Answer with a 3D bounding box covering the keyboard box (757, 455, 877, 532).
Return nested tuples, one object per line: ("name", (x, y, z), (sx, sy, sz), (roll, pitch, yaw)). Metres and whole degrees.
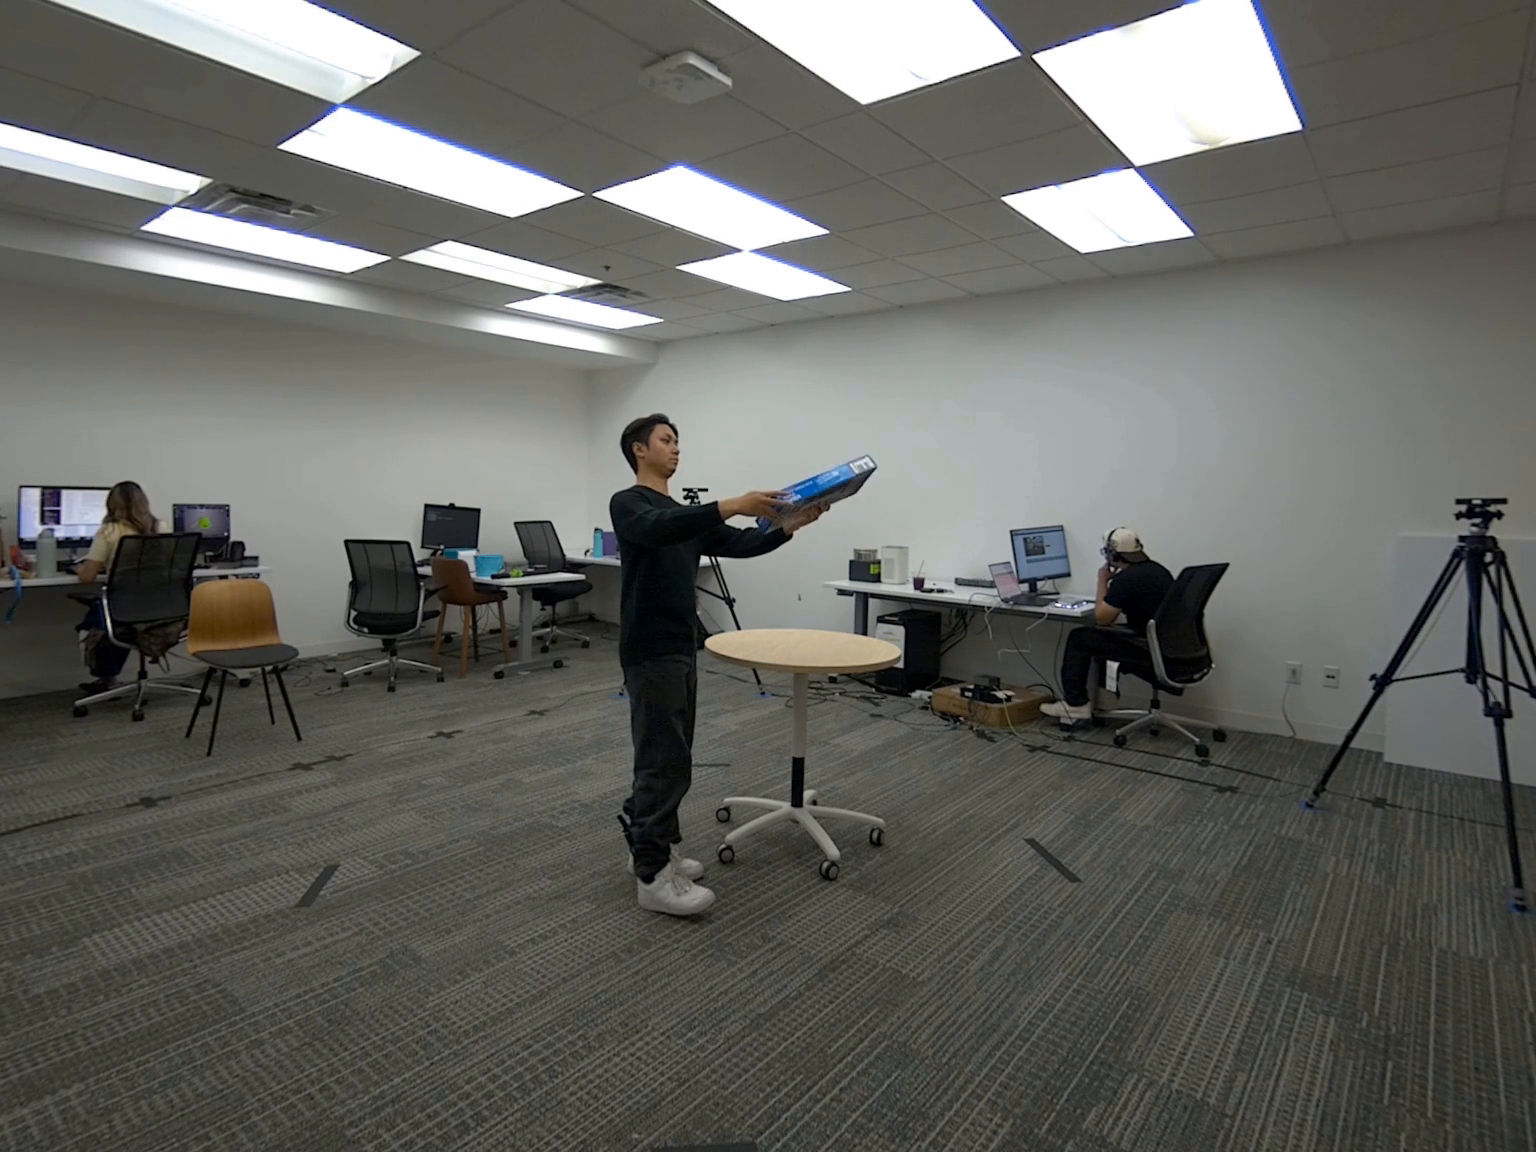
("keyboard box", (0.154, -0.283, 2.873), (0.430, 0.060, 0.175), (-25, -16, -31))
